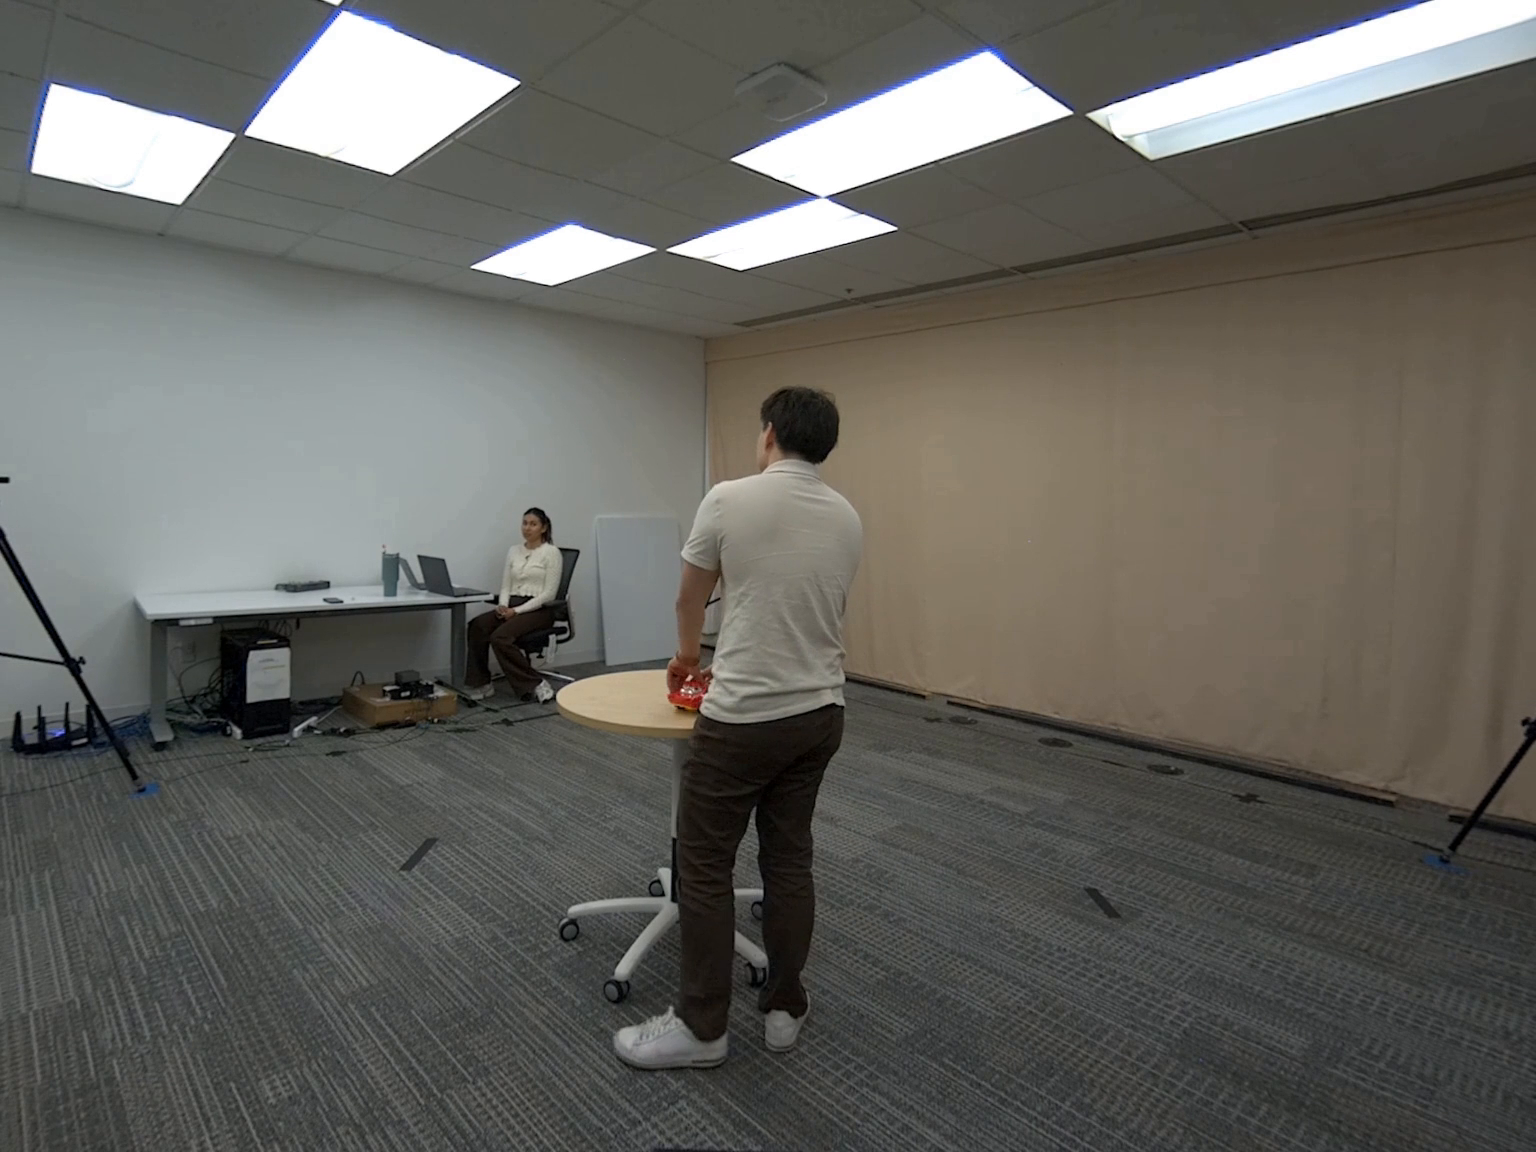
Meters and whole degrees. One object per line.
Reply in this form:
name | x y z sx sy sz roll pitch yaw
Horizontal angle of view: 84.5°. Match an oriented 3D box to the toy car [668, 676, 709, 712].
toy car | -0.192 0.354 2.409 0.133 0.083 0.248 6 -3 32
